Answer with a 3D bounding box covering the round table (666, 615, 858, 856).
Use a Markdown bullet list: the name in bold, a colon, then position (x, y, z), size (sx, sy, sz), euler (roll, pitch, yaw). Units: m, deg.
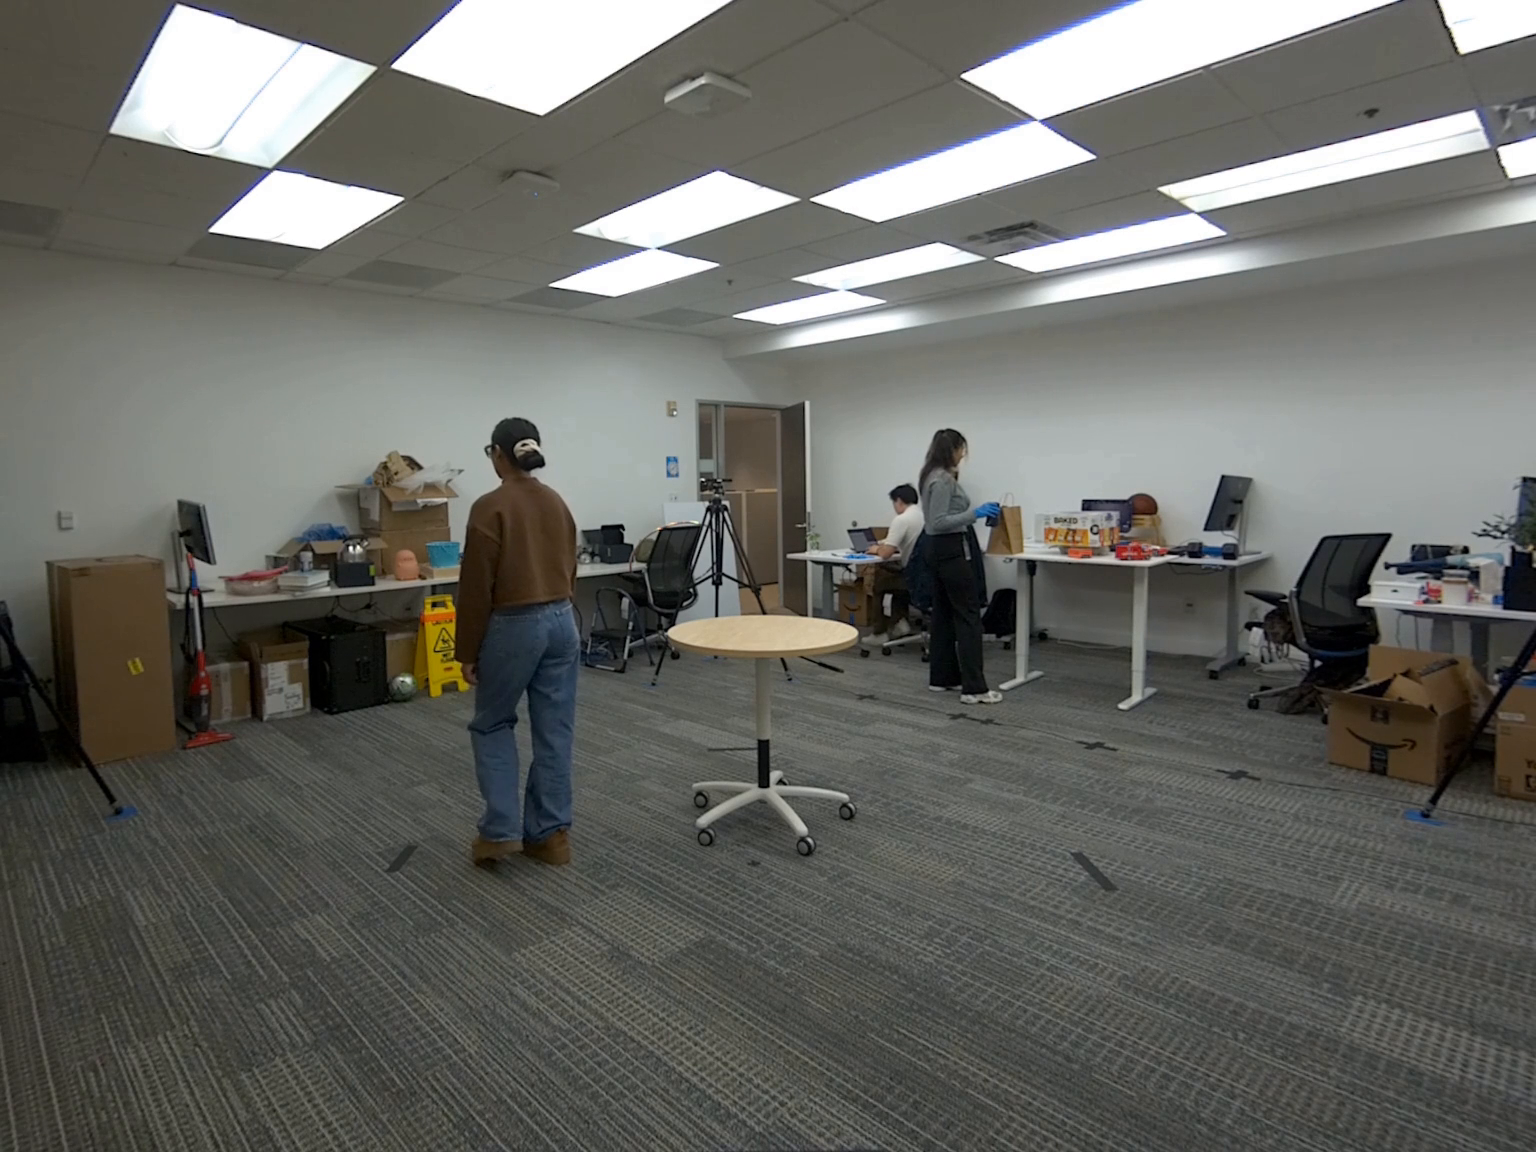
- **round table**: position (-0.019, 0.613, 3.477), size (0.763, 0.791, 0.768), euler (-1, 5, -2)
